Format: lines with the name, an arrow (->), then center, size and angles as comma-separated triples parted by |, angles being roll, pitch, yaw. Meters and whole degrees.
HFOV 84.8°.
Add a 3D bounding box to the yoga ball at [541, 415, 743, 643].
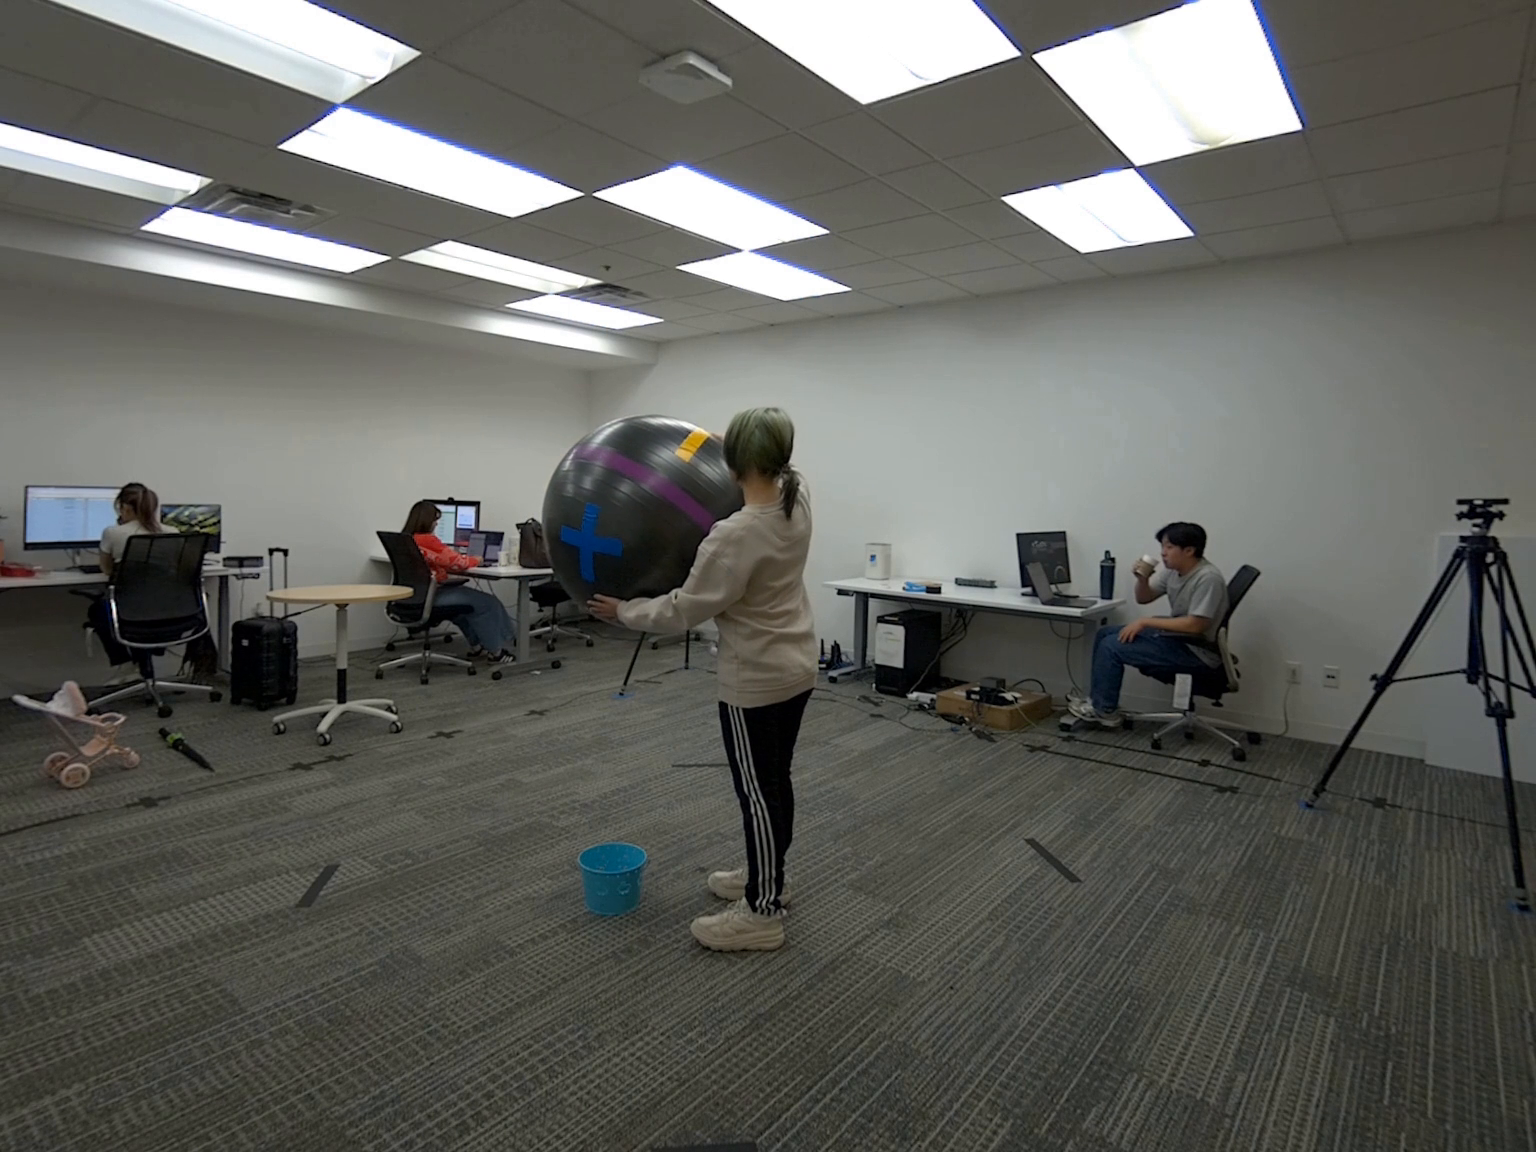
yoga ball -> -0.437, -0.186, 3.010 | 0.757, 0.756, 0.761 | 1, 4, -2
